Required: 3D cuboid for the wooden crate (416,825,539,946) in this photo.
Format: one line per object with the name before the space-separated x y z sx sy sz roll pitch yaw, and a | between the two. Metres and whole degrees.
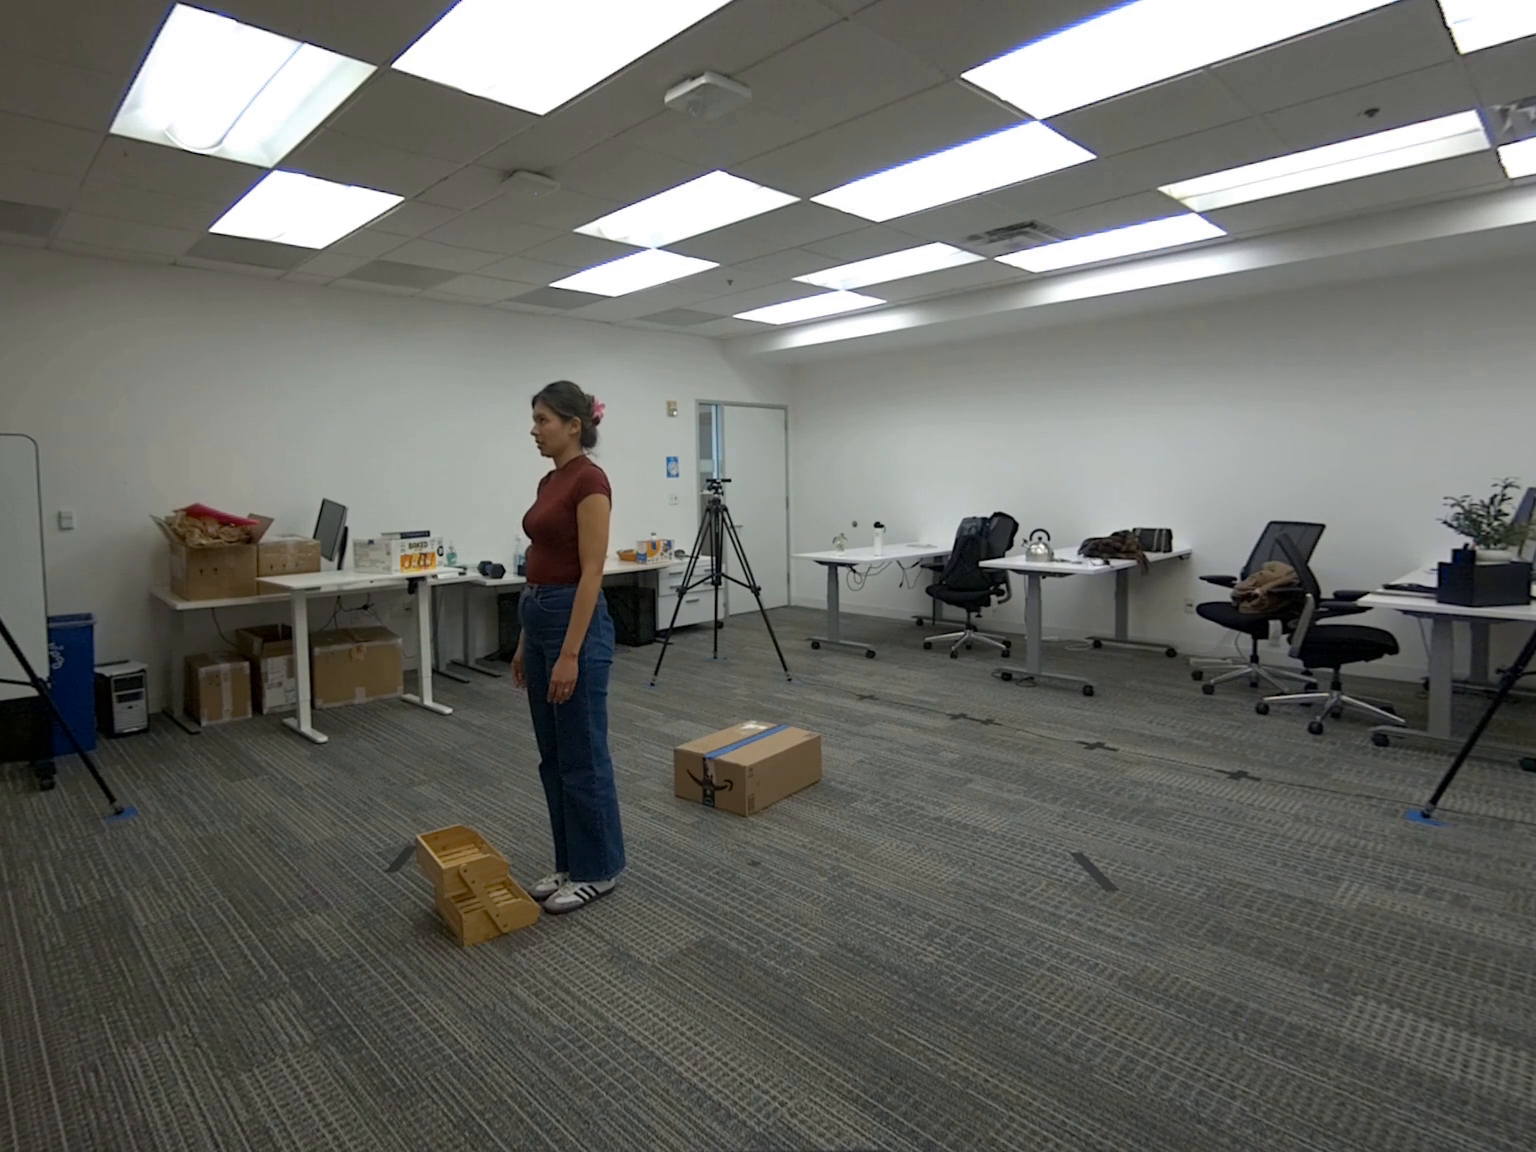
wooden crate | -0.940 0.963 2.754 0.294 0.272 0.334 -6 7 -36
